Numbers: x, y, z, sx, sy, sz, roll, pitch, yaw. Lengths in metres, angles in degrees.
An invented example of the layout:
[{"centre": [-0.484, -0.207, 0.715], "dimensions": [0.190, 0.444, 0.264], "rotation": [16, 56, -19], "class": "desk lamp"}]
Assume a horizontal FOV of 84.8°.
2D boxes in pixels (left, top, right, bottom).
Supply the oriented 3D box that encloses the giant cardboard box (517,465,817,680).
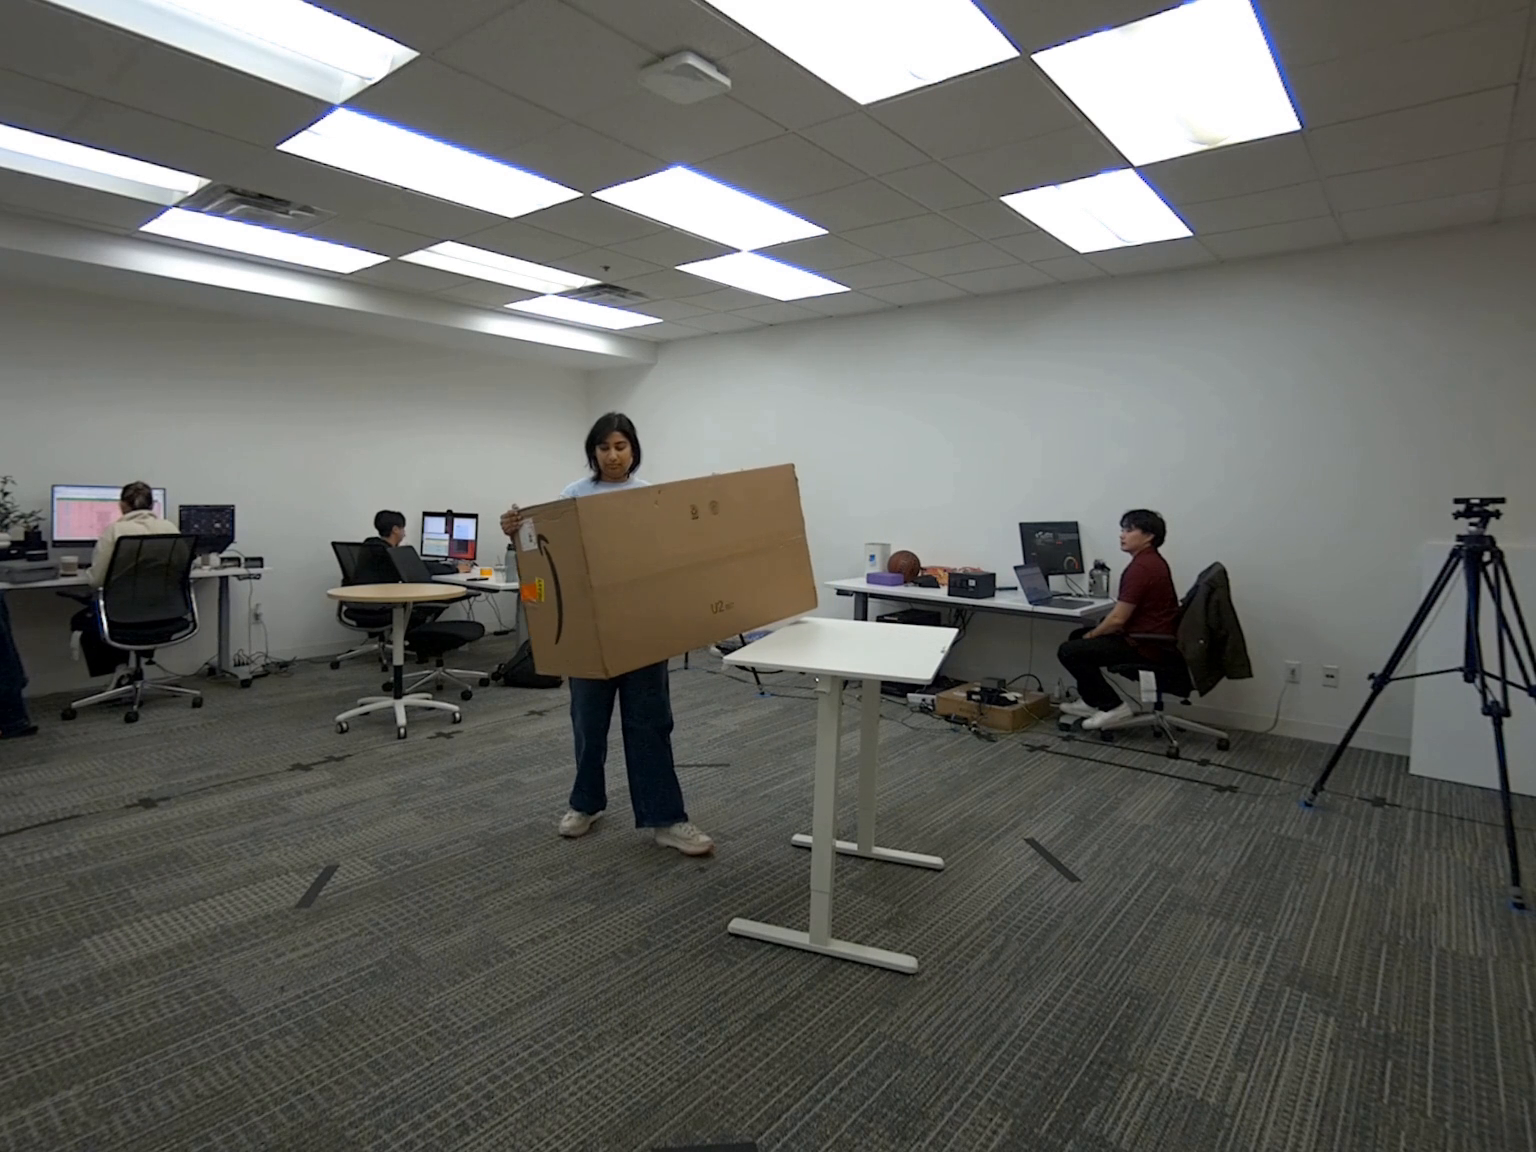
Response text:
[{"centre": [-0.350, -0.050, 3.089], "dimensions": [1.001, 0.575, 0.438], "rotation": [-15, 6, -43], "class": "giant cardboard box"}]
